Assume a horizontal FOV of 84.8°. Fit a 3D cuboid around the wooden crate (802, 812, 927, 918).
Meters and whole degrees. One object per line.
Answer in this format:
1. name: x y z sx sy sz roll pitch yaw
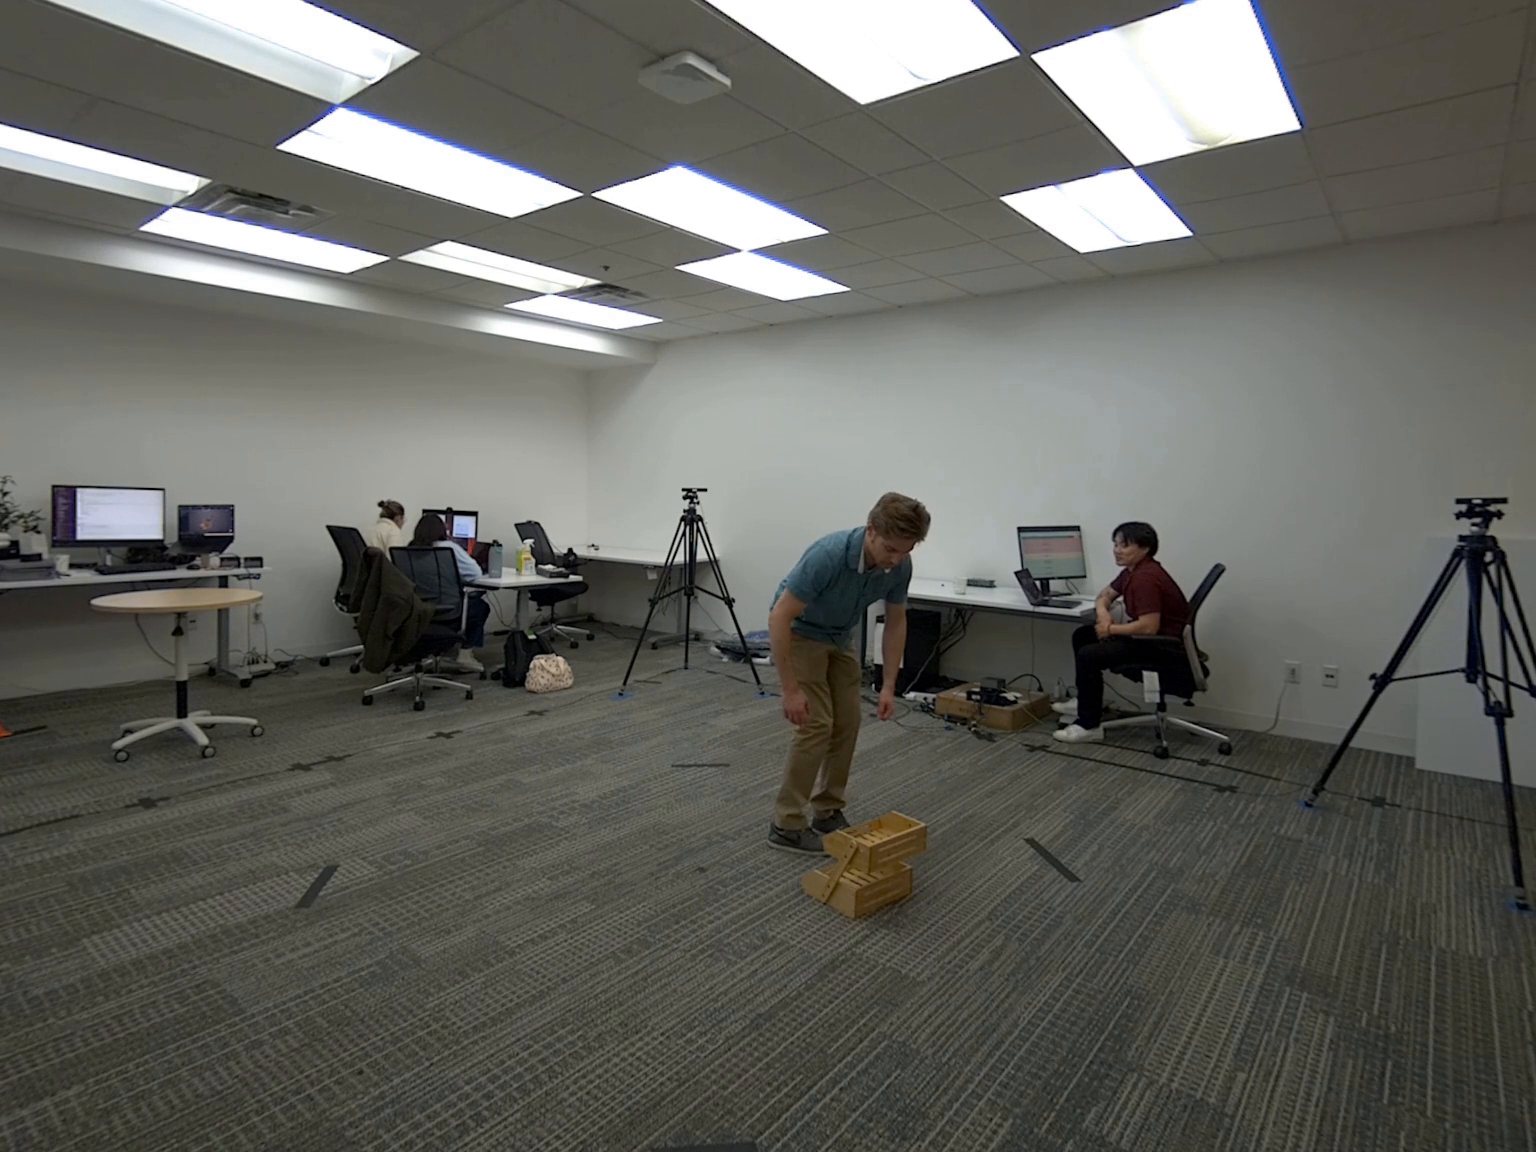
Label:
1. wooden crate: 0.323 0.964 2.940 0.314 0.272 0.313 -2 7 -41
